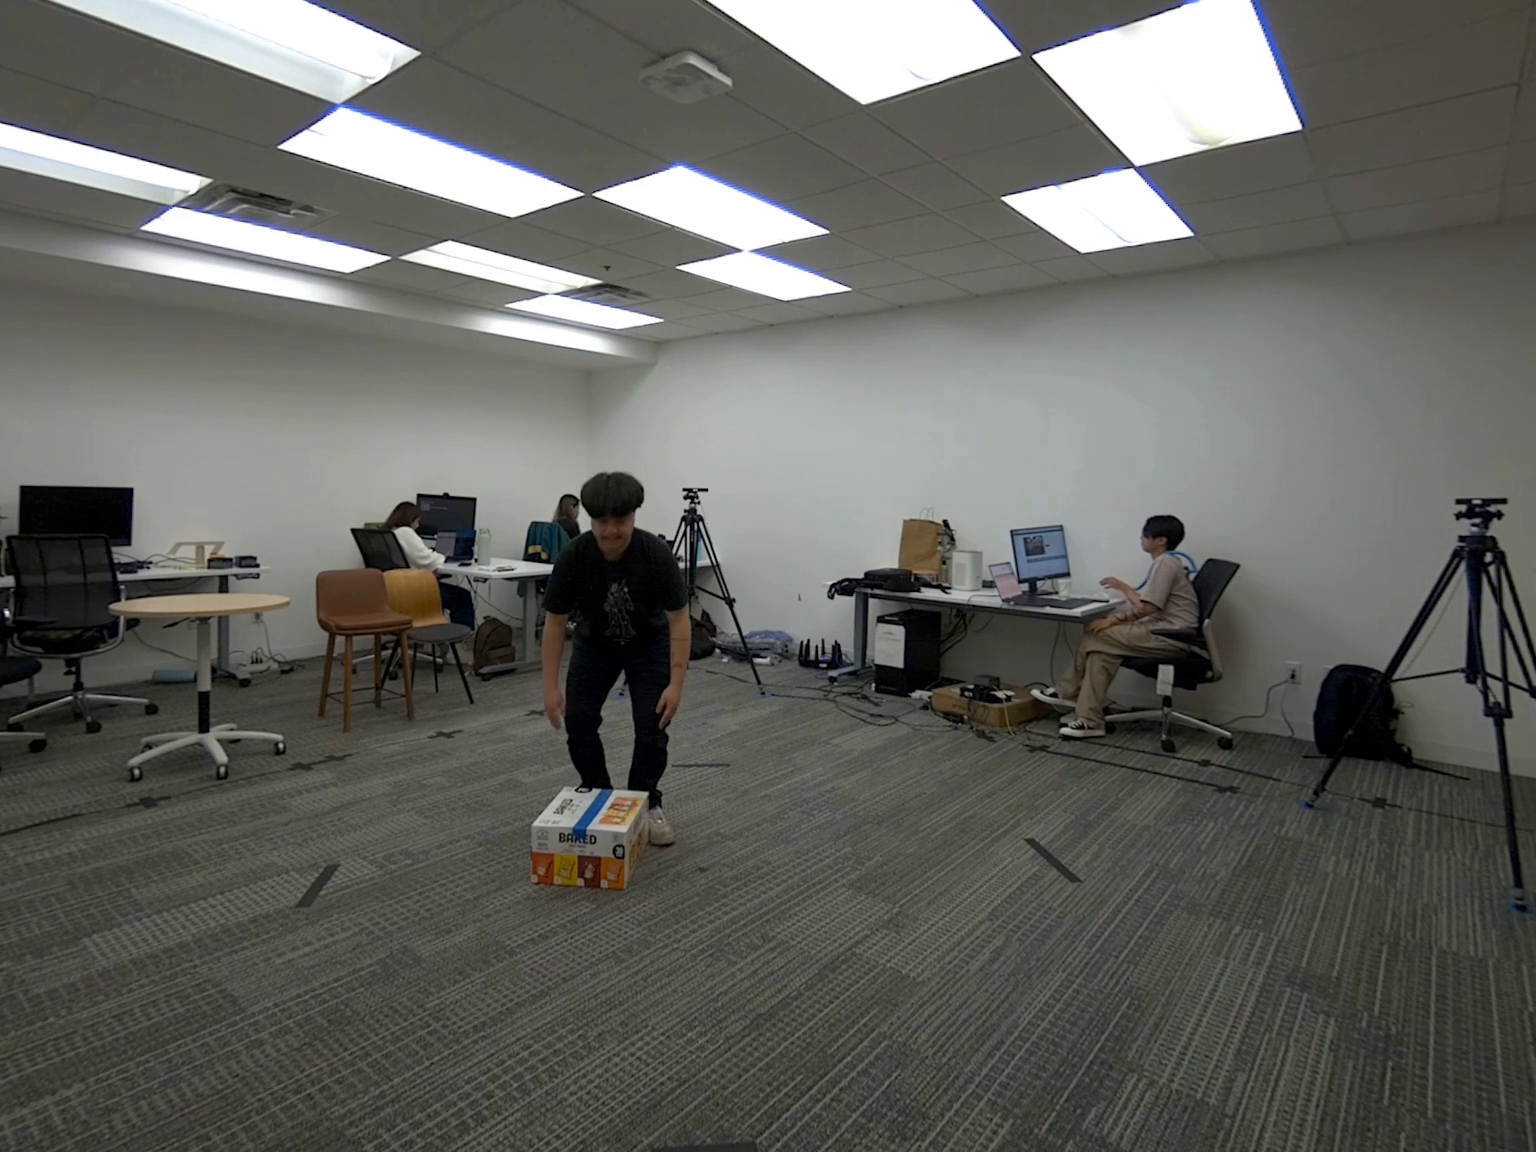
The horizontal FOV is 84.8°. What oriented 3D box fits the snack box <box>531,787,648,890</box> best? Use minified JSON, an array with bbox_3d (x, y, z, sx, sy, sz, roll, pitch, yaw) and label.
[{"bbox_3d":[-0.660,0.954,3.146,0.342,0.205,0.404,2,5,5],"label":"snack box"}]
